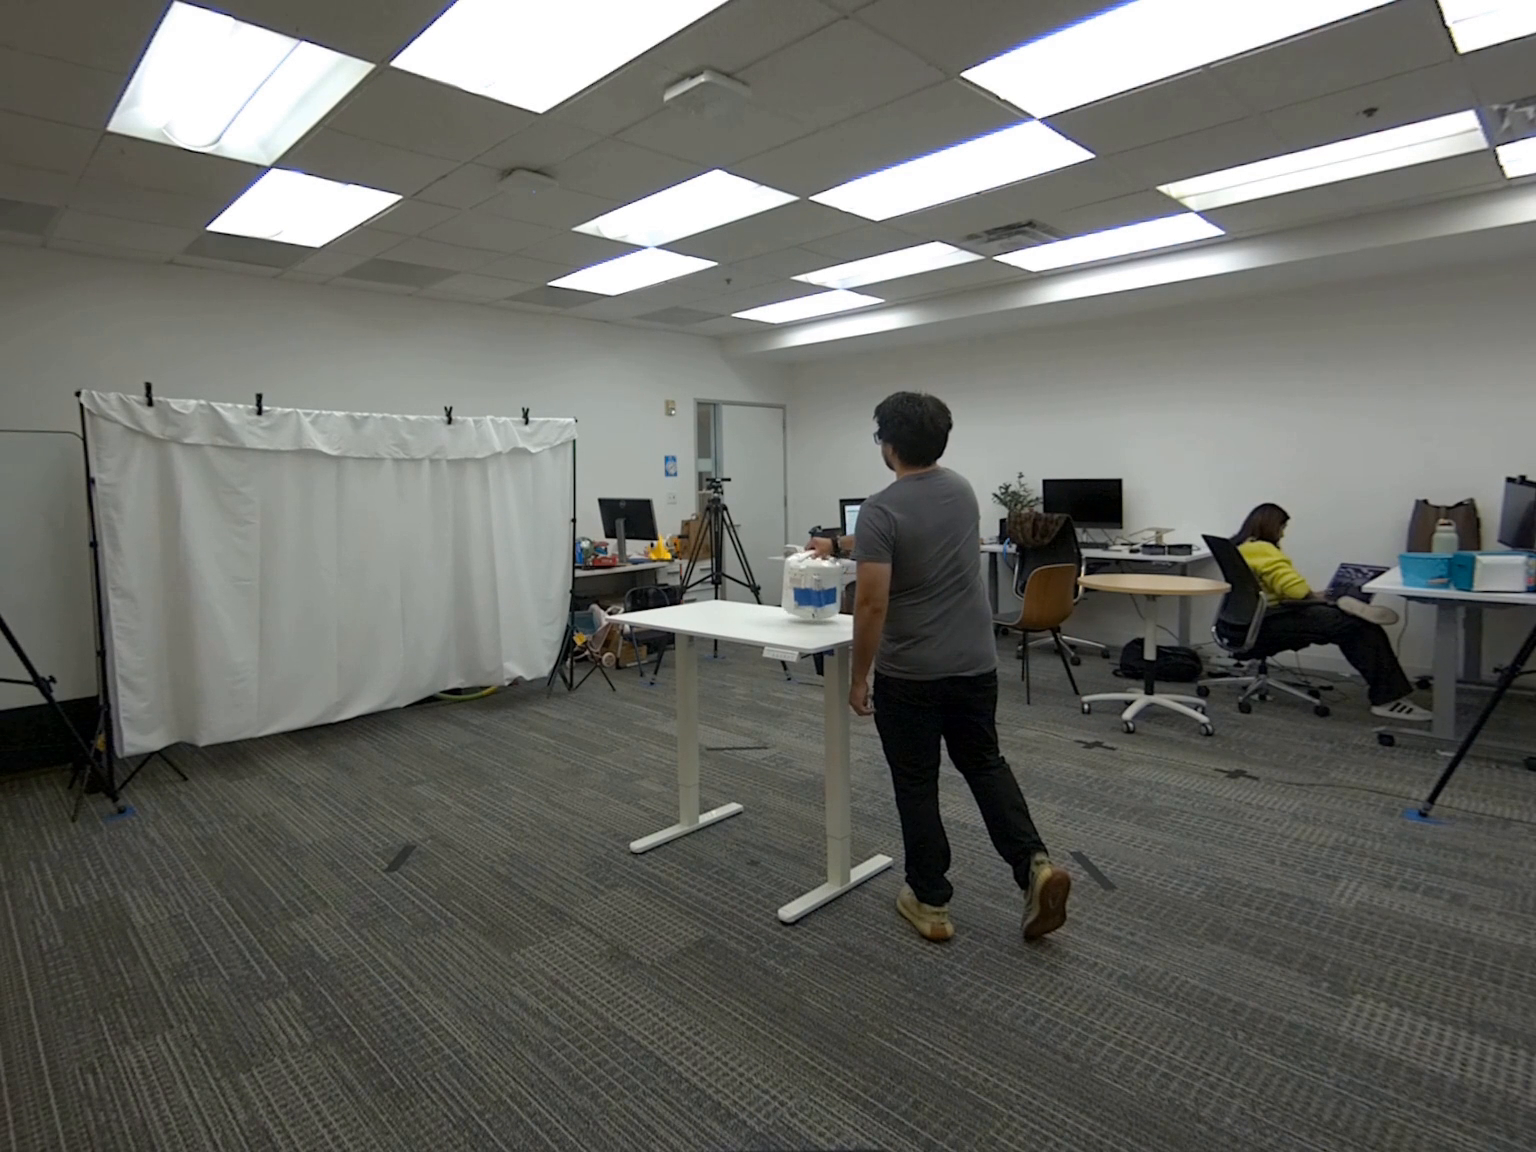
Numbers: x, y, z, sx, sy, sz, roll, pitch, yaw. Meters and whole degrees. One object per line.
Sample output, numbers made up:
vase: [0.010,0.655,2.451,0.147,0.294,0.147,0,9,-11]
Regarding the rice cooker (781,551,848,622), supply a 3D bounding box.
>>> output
rice cooker: [0.162,0.022,3.029,0.224,0.231,0.215,11,10,39]
